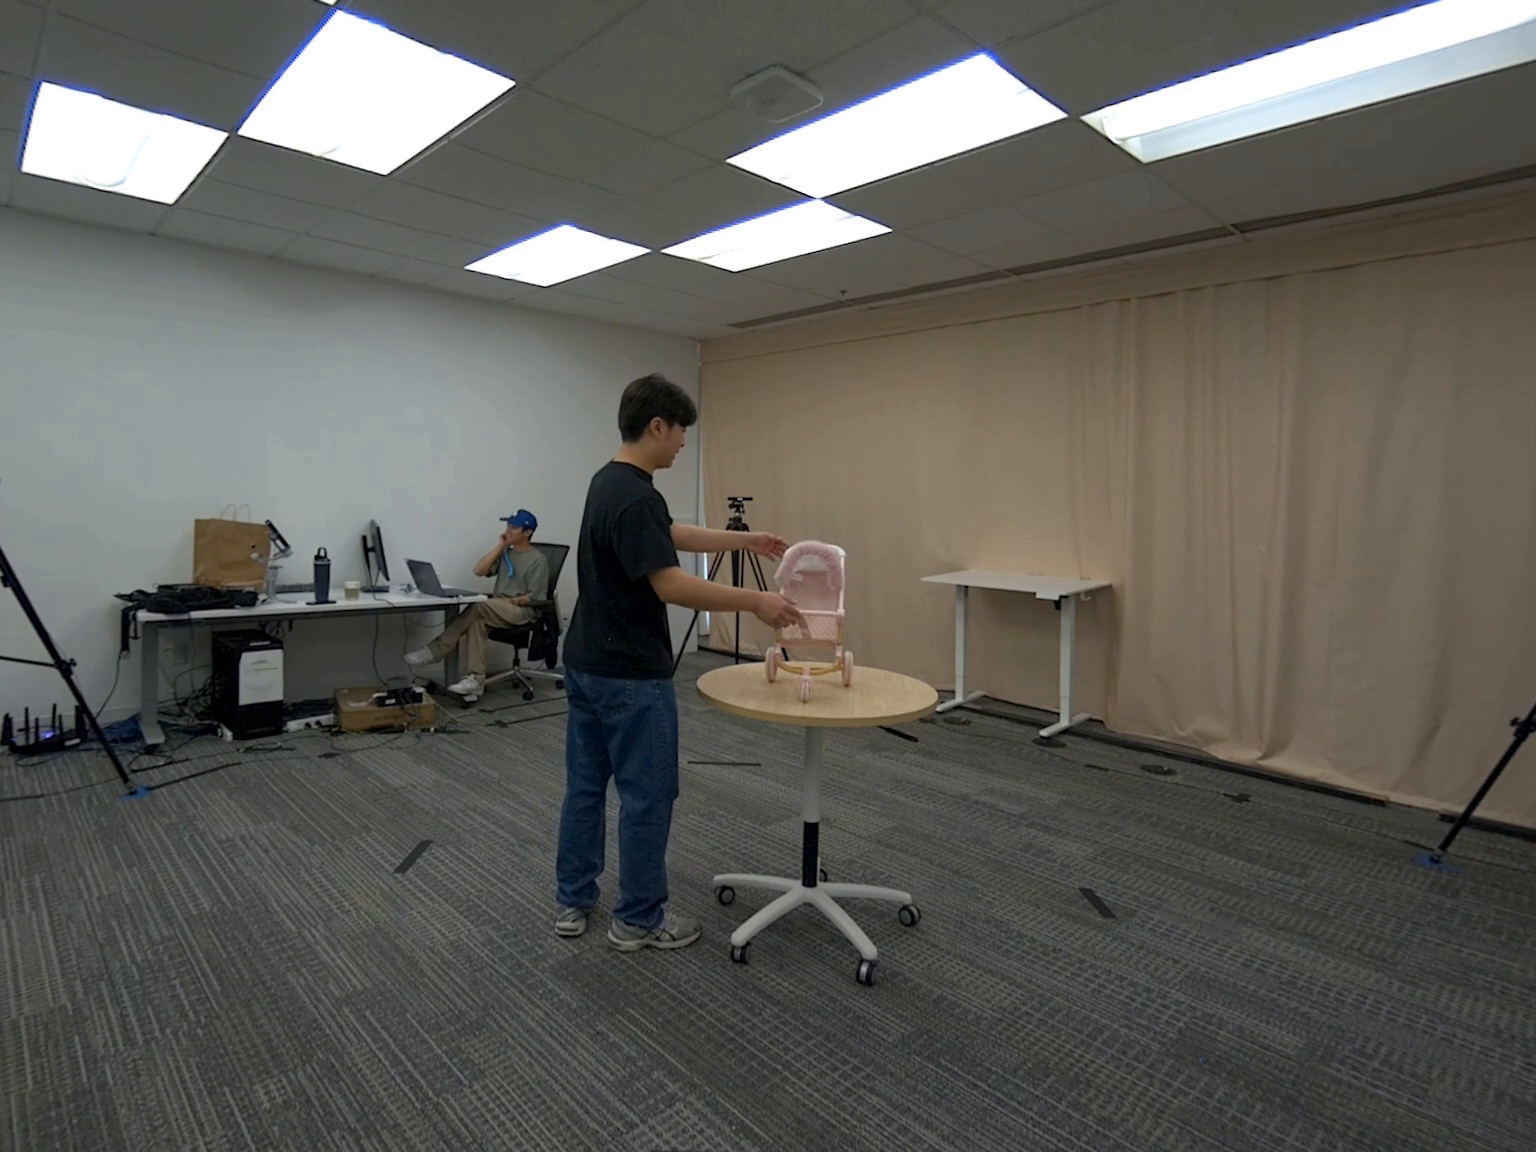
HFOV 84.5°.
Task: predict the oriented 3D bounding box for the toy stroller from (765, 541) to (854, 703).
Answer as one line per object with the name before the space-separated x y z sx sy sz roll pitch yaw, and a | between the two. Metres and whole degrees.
toy stroller | 0.122 0.131 2.664 0.284 0.539 0.336 1 -10 9
